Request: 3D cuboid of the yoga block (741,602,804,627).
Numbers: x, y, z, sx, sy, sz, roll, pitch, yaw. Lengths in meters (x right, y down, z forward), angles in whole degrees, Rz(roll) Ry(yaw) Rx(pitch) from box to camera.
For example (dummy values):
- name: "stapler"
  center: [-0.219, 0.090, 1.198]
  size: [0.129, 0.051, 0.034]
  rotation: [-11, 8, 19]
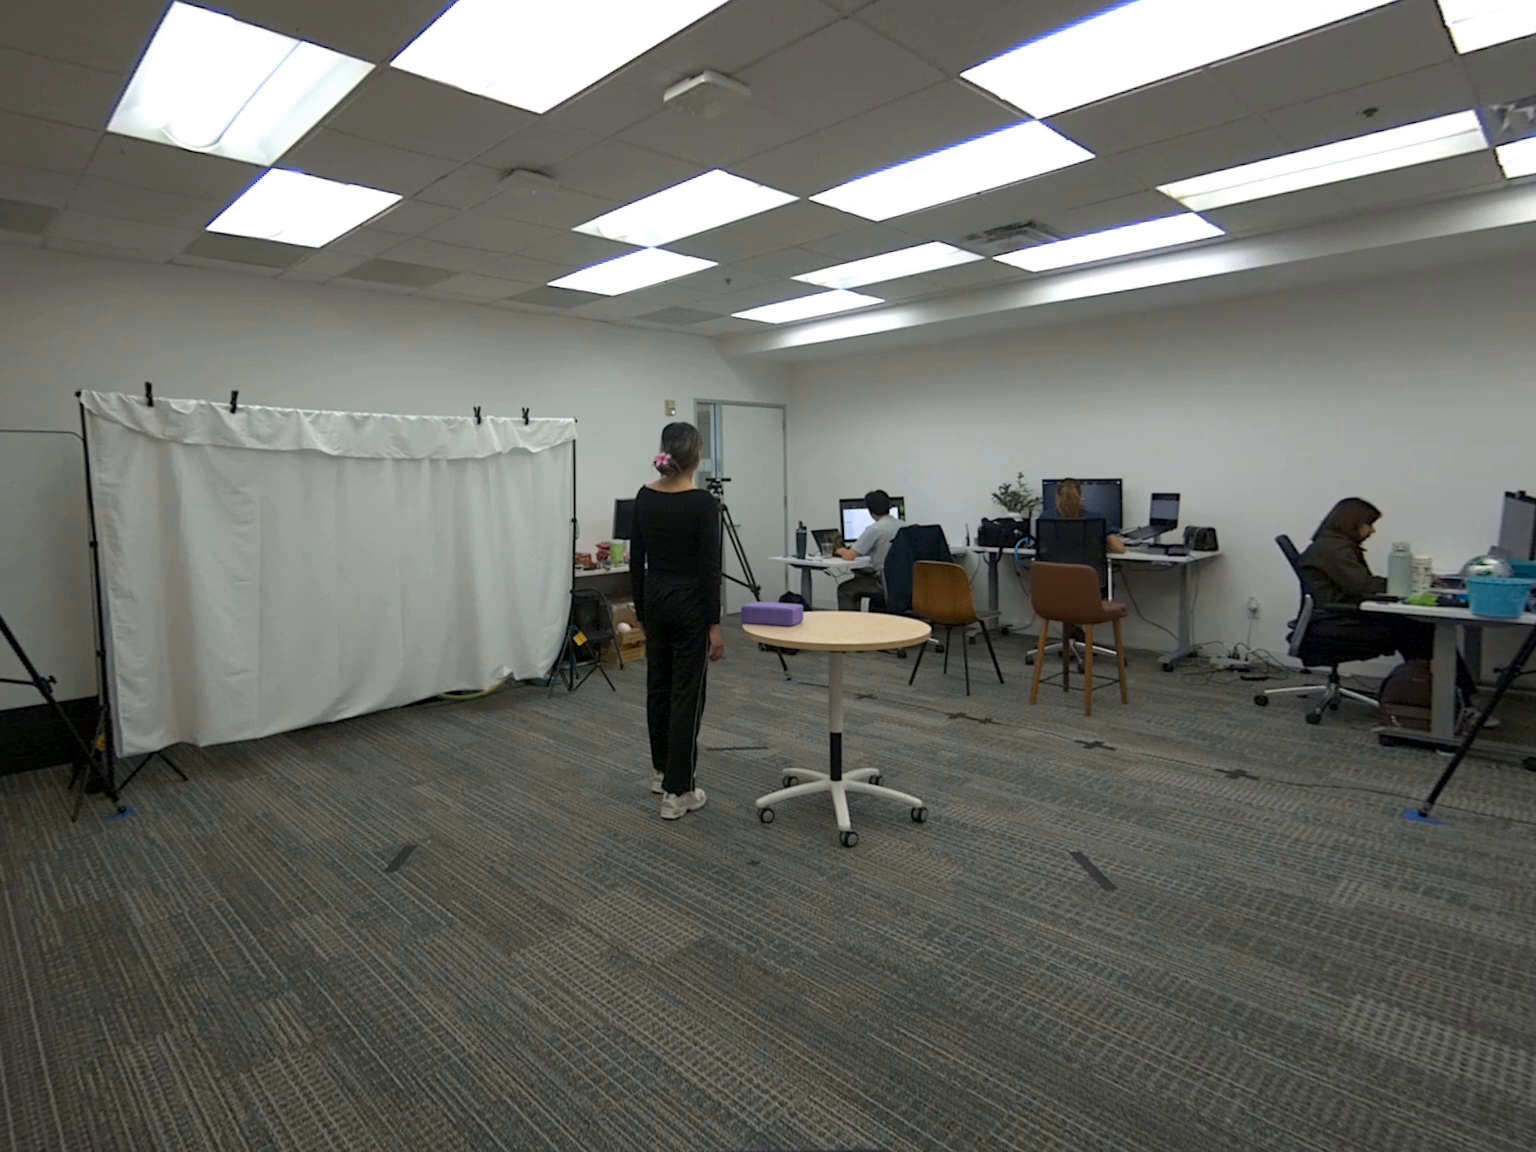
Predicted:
- name: "yoga block"
  center: [0.023, 0.161, 3.603]
  size: [0.235, 0.076, 0.146]
  rotation: [3, 6, 26]
